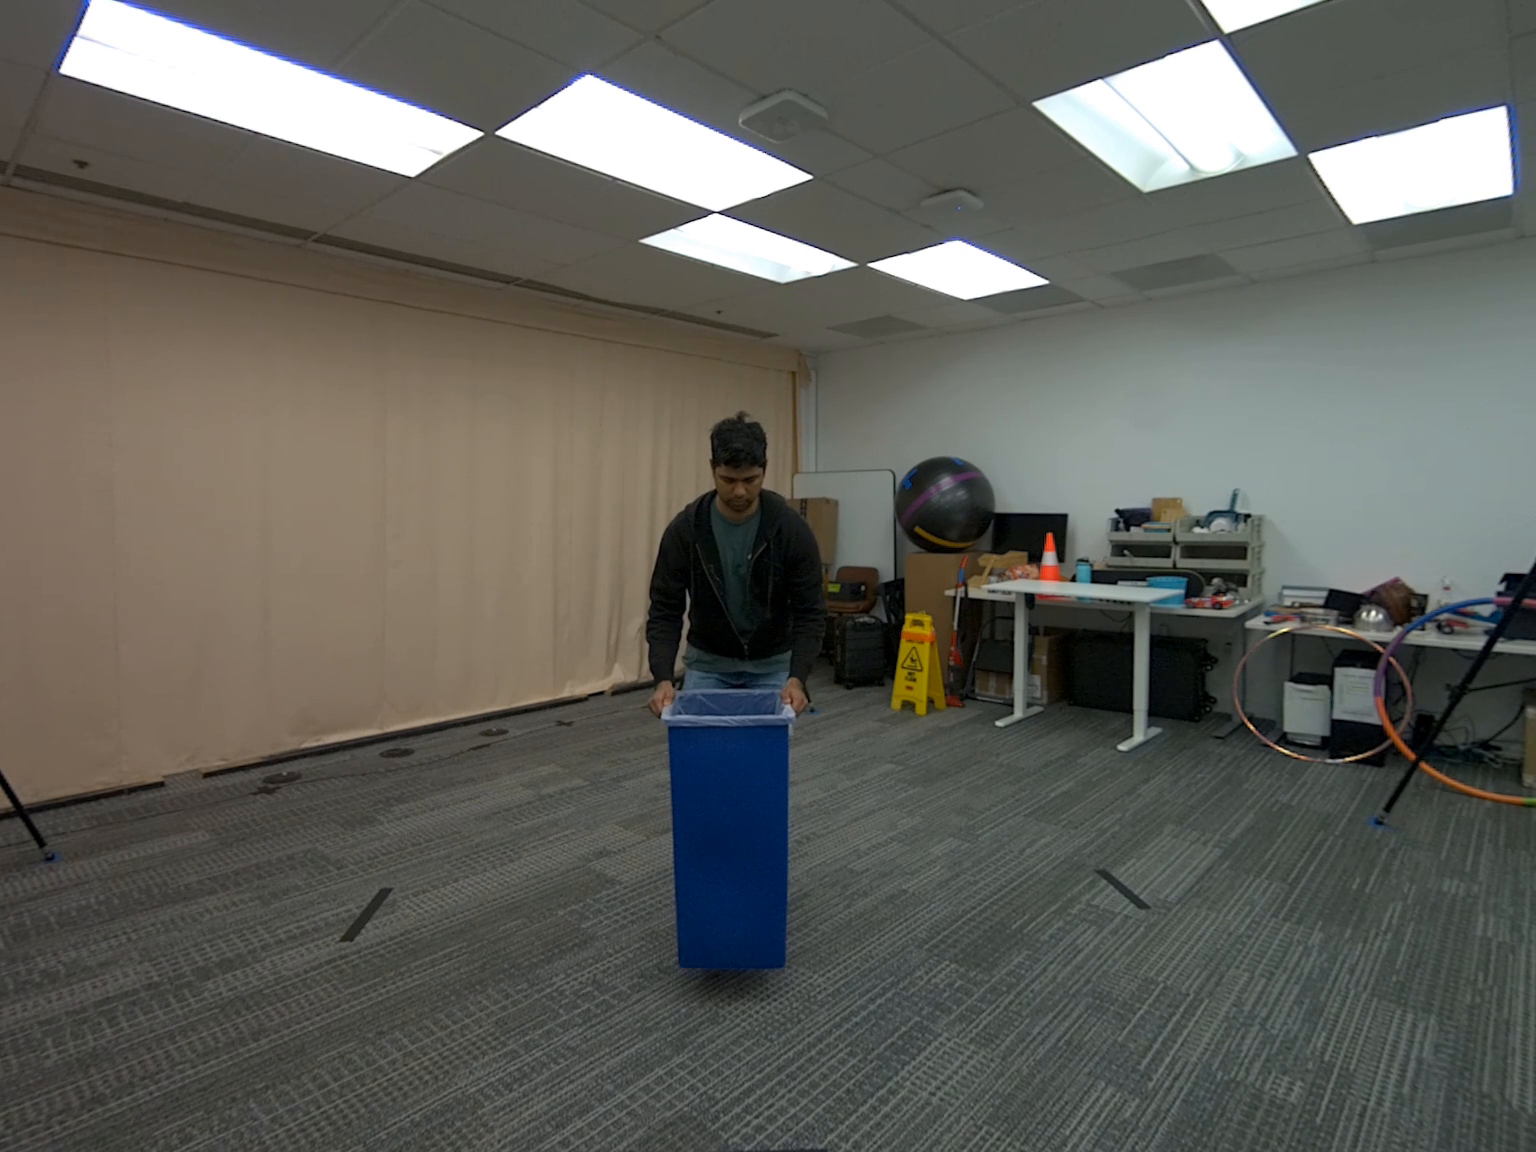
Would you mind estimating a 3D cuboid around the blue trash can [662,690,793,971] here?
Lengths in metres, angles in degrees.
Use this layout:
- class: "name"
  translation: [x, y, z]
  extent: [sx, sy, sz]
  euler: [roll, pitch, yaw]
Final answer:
- class: "blue trash can"
  translation: [-0.114, 0.724, 2.476]
  extent: [0.374, 0.713, 0.378]
  euler: [0, 2, 0]
